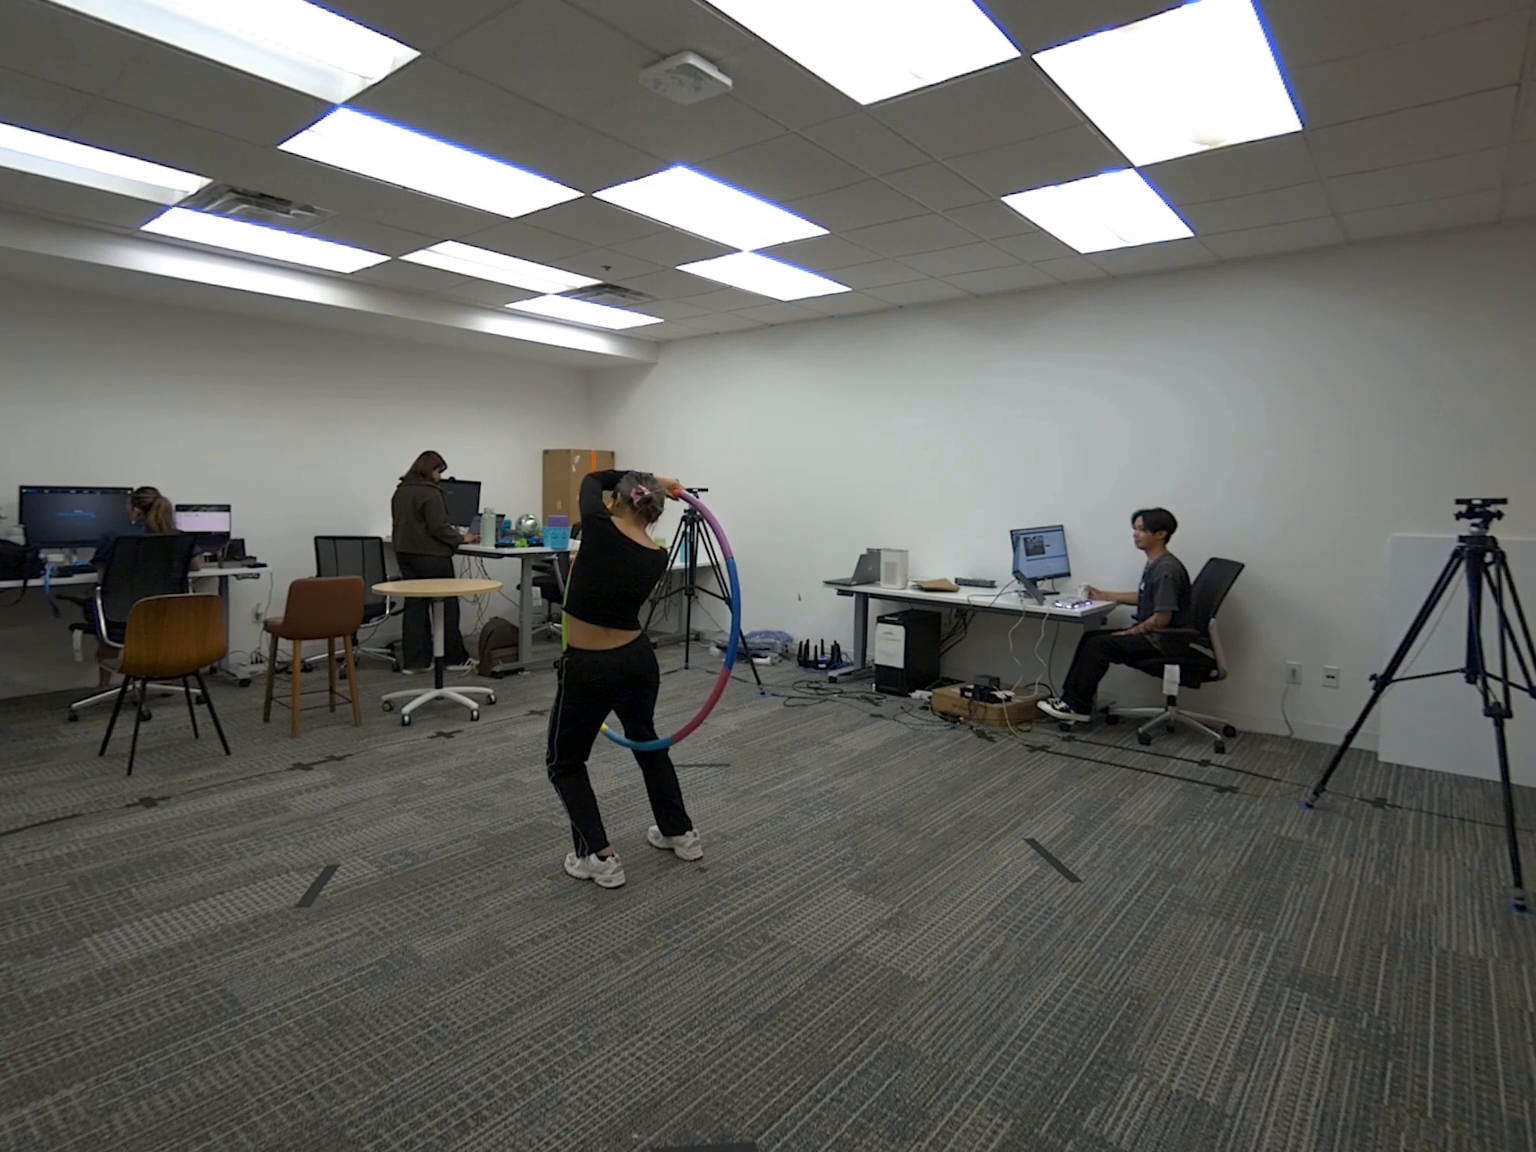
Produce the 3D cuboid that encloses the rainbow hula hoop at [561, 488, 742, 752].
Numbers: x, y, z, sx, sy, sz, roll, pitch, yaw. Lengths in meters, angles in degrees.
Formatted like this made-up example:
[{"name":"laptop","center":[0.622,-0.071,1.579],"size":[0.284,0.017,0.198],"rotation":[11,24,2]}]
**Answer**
[{"name":"rainbow hula hoop","center":[-0.486,0.147,3.222],"size":[1.012,0.981,0.034],"rotation":[5,-4,43]}]
